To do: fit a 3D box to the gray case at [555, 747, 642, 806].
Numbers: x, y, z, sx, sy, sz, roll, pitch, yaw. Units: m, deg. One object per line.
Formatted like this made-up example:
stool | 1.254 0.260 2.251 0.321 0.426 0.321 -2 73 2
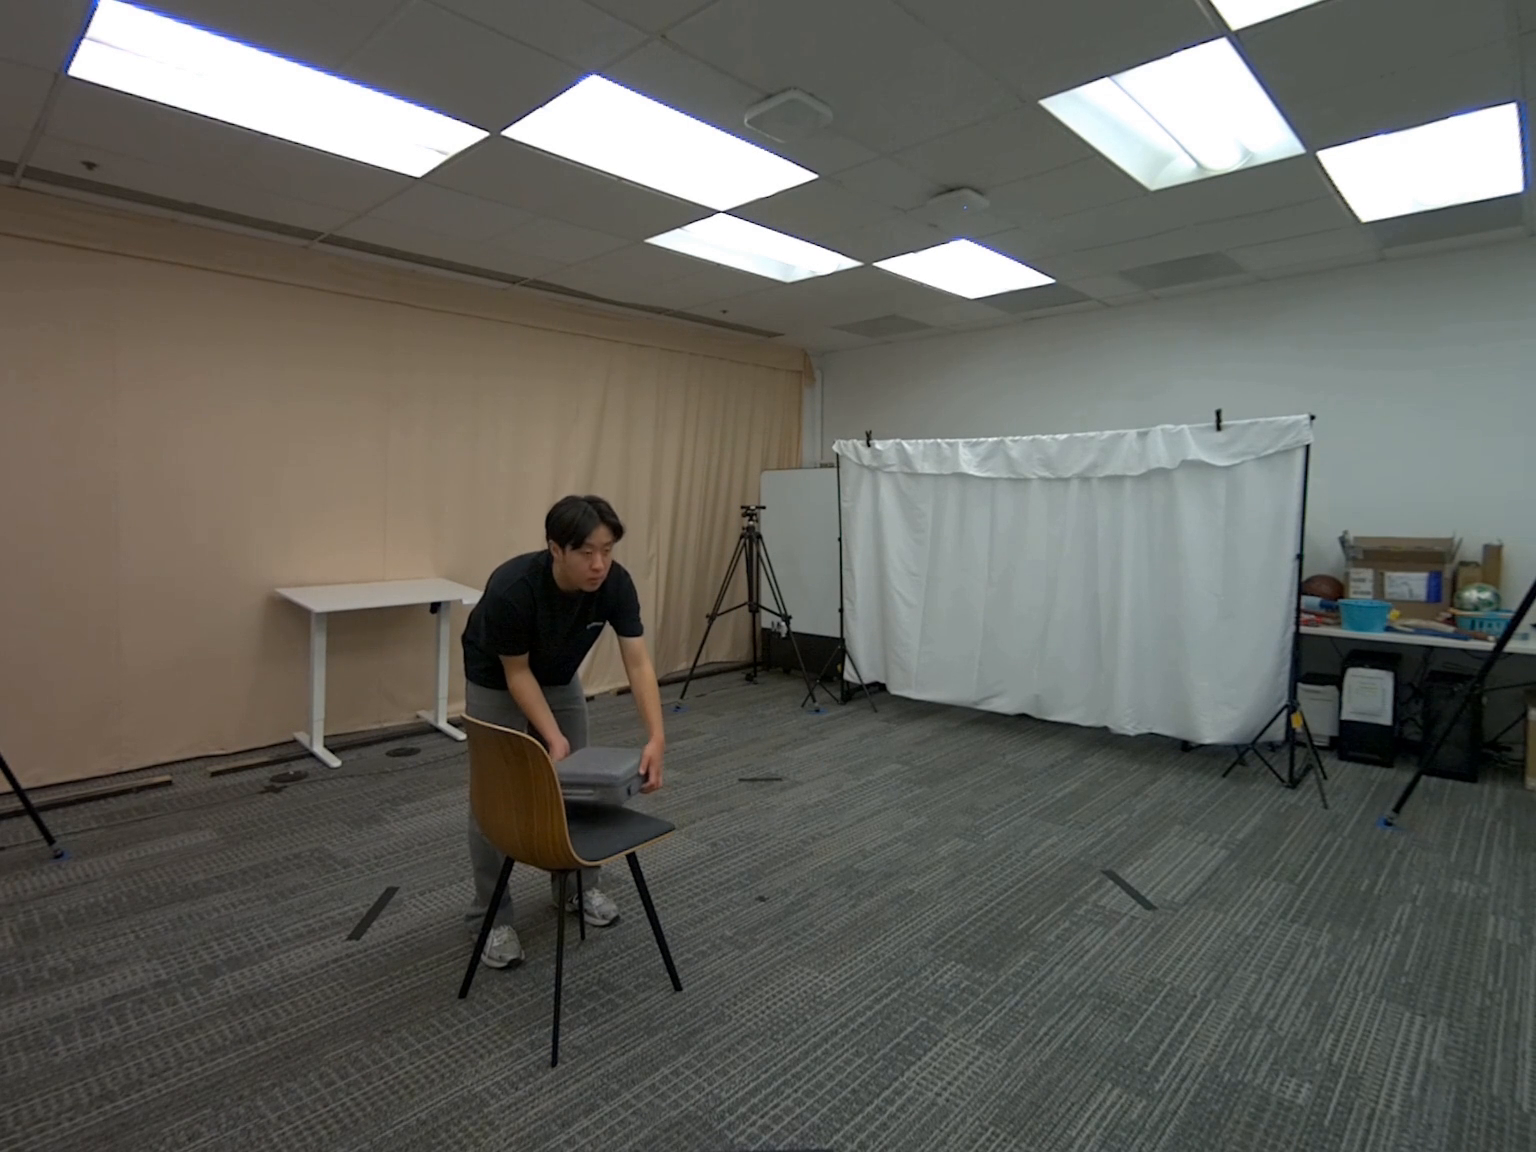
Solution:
gray case | -0.495 0.588 2.481 0.268 0.103 0.282 -2 4 17
